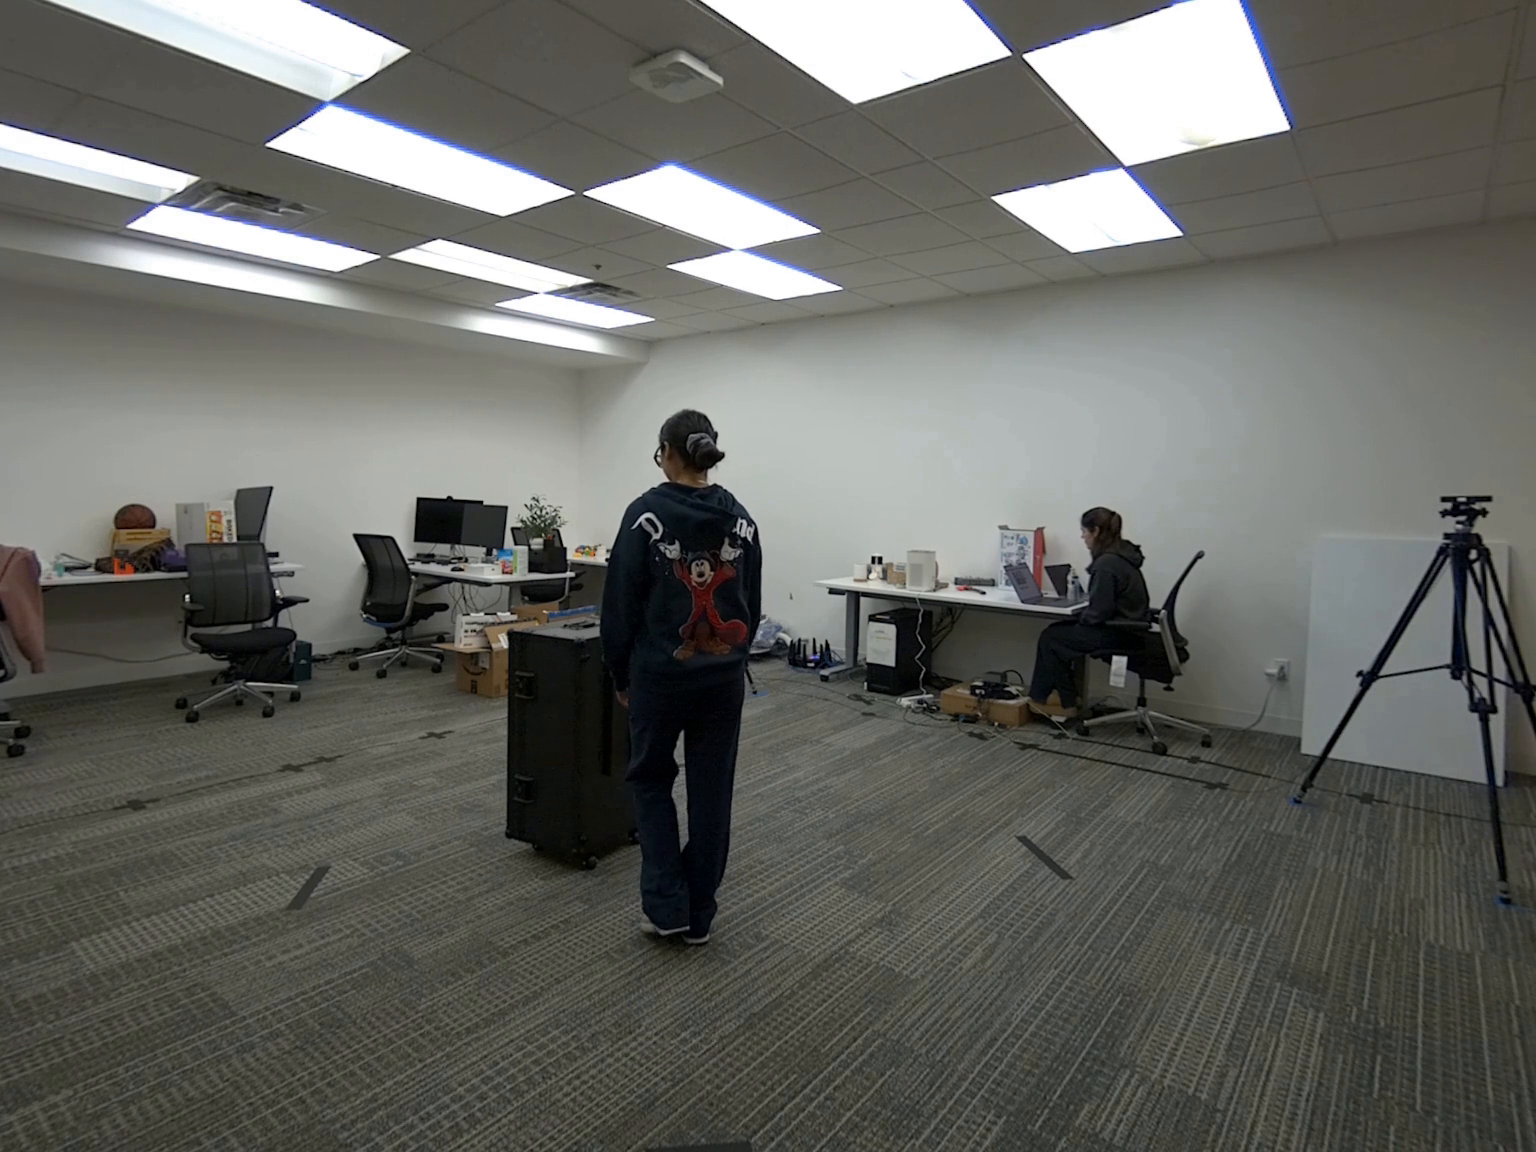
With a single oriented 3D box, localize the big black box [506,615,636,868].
[{"bbox_3d":[-0.723,0.627,3.272,0.537,0.859,0.386,3,4,30],"label":"big black box"}]
